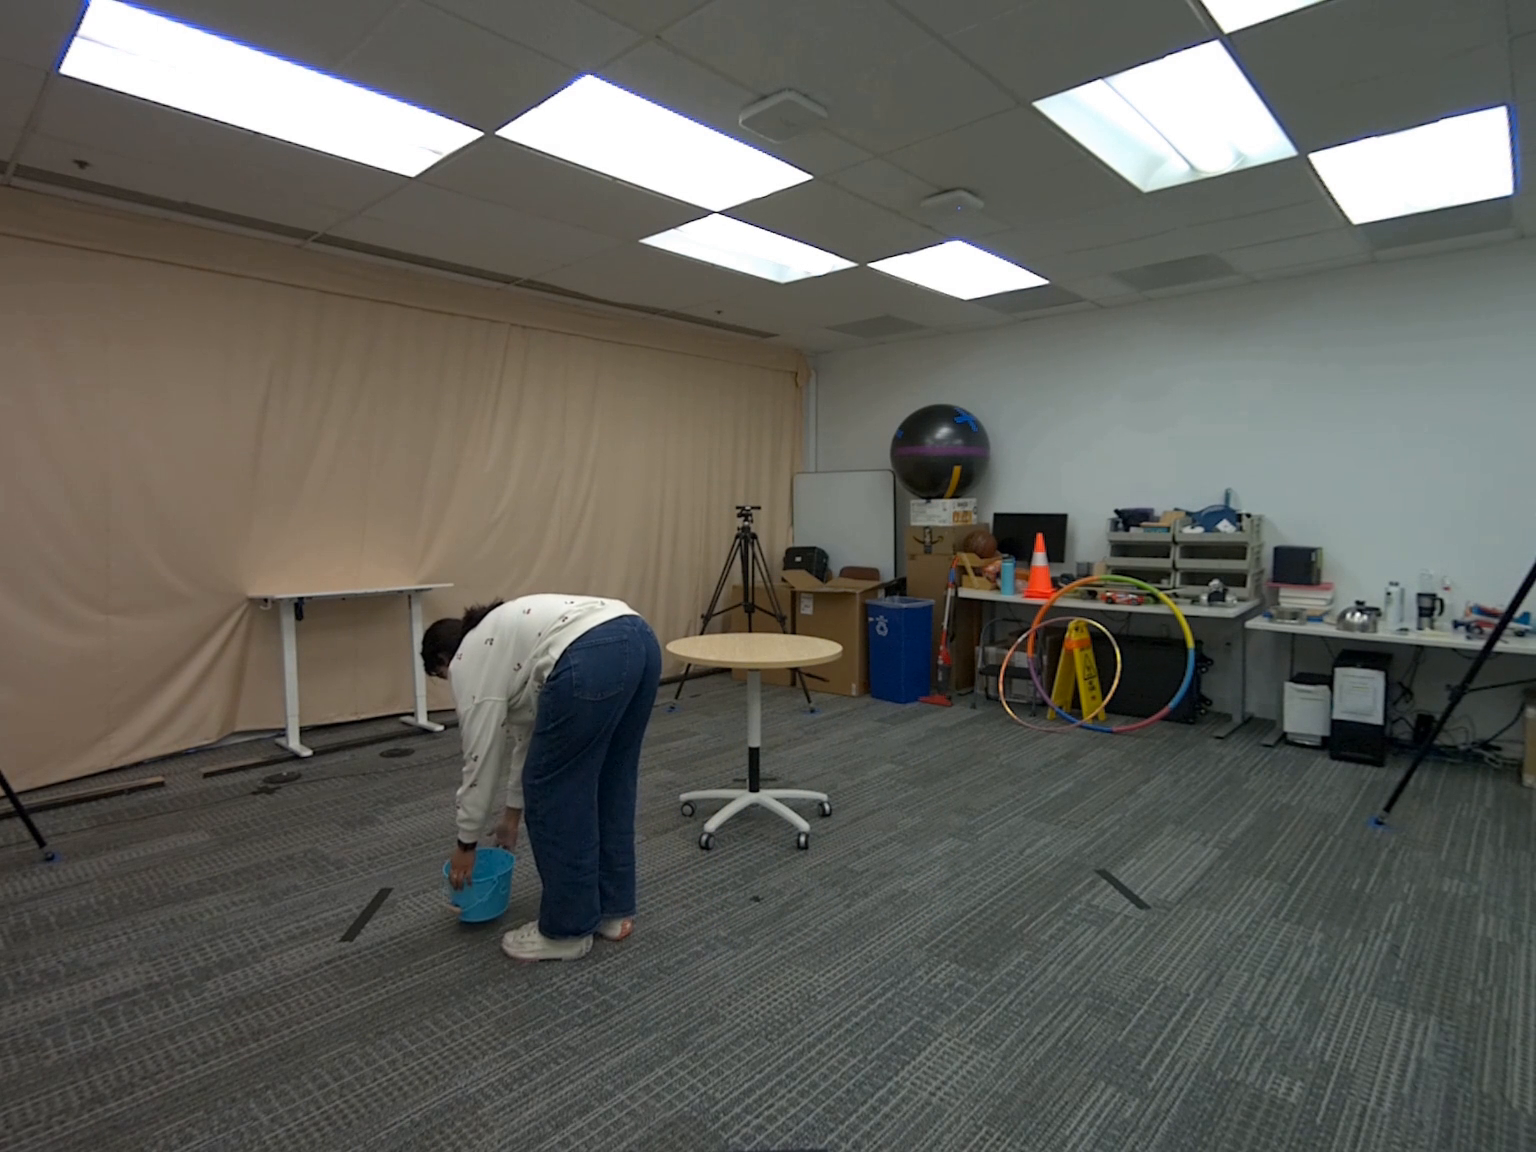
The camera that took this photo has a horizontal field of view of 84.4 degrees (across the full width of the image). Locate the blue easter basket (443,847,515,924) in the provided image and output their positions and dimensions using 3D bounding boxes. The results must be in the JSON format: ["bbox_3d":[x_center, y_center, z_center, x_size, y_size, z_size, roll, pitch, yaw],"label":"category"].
[{"bbox_3d":[-0.971,1.037,2.812,0.243,0.155,0.245,0,7,-2],"label":"blue easter basket"}]
